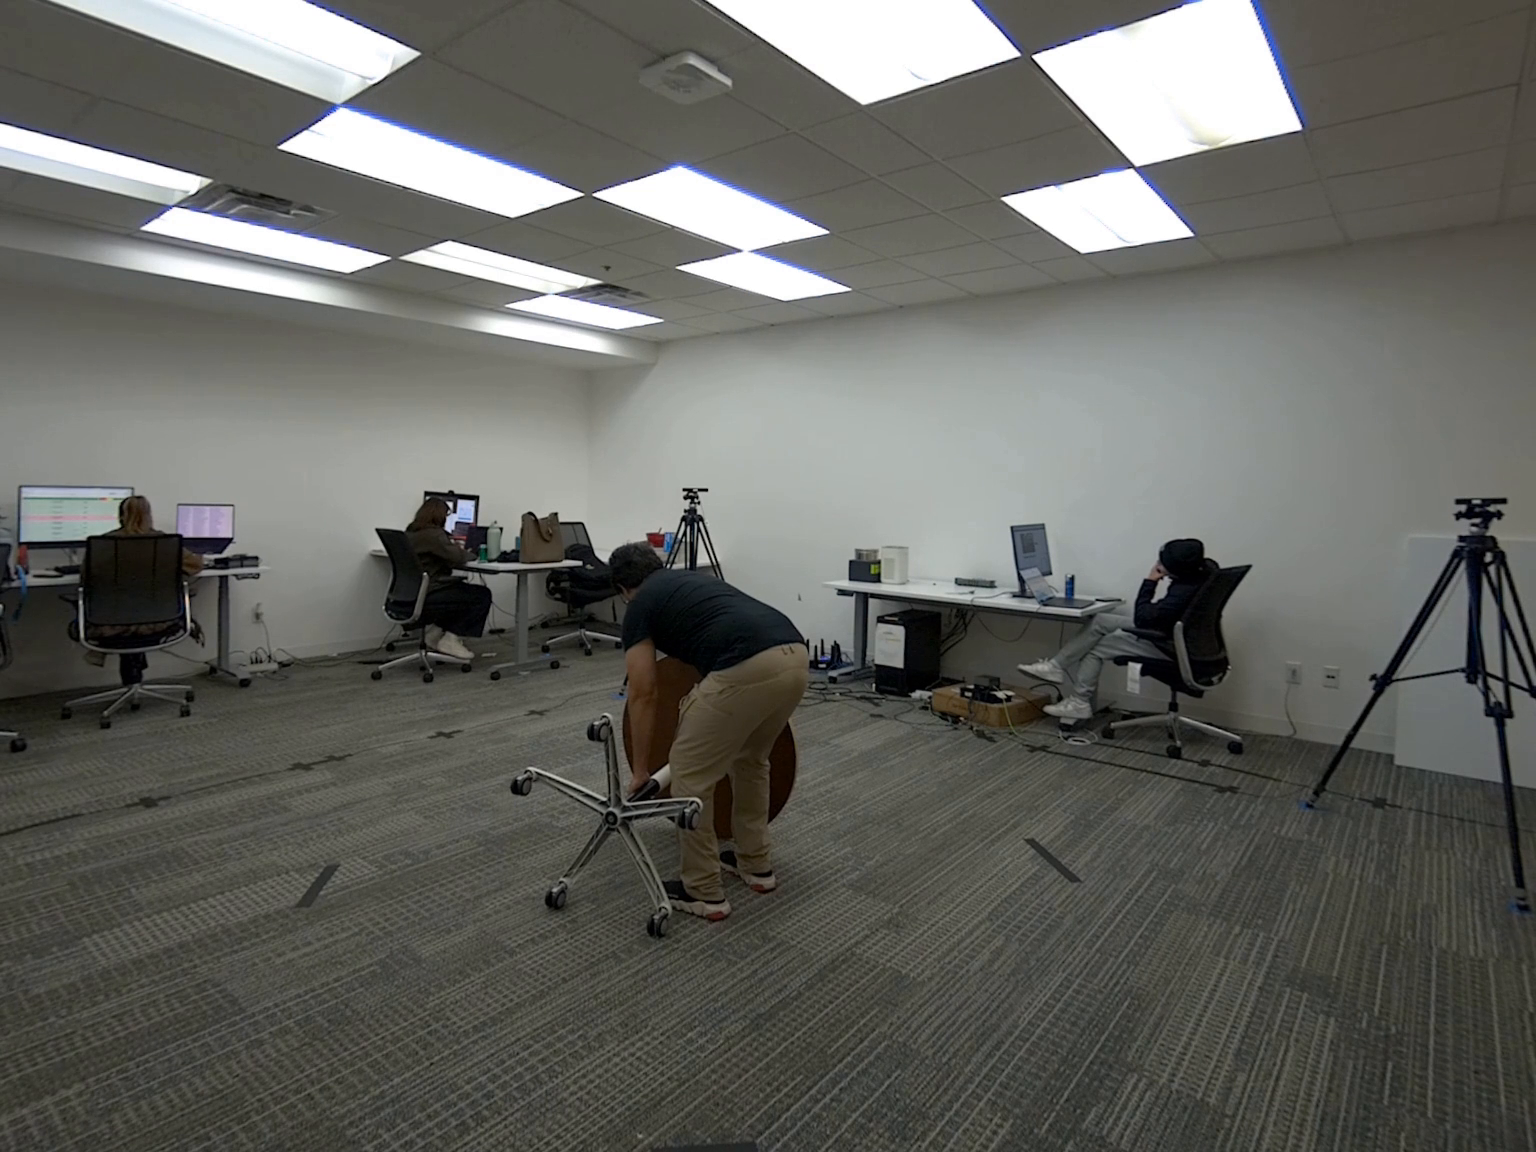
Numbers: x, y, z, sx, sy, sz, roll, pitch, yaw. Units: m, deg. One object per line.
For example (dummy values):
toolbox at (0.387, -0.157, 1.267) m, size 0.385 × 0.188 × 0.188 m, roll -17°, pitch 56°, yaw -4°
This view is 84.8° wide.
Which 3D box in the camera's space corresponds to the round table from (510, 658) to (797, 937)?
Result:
round table at (-0.402, 0.715, 3.020) m, size 0.805 × 0.780 × 0.772 m, roll 3°, pitch 8°, yaw 24°
